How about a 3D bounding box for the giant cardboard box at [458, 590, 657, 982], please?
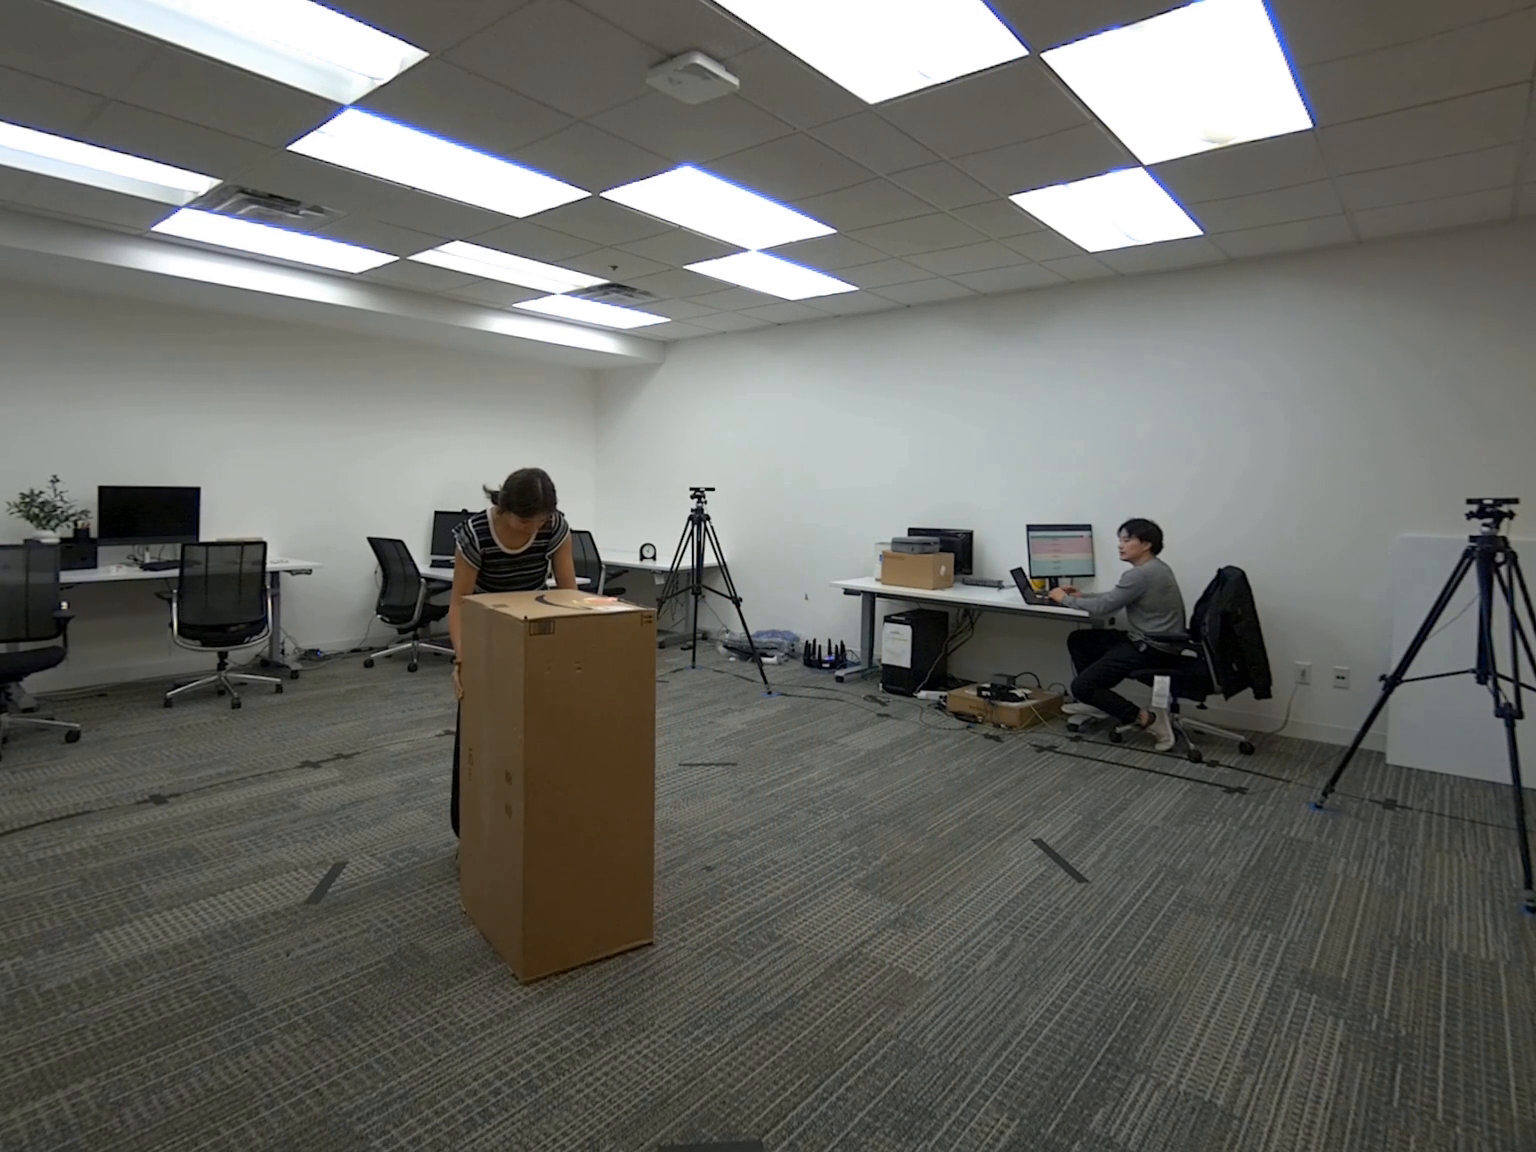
[{"bbox_3d":[-0.683,0.589,2.685,0.413,1.023,0.596,-1,4,-37],"label":"giant cardboard box"}]
